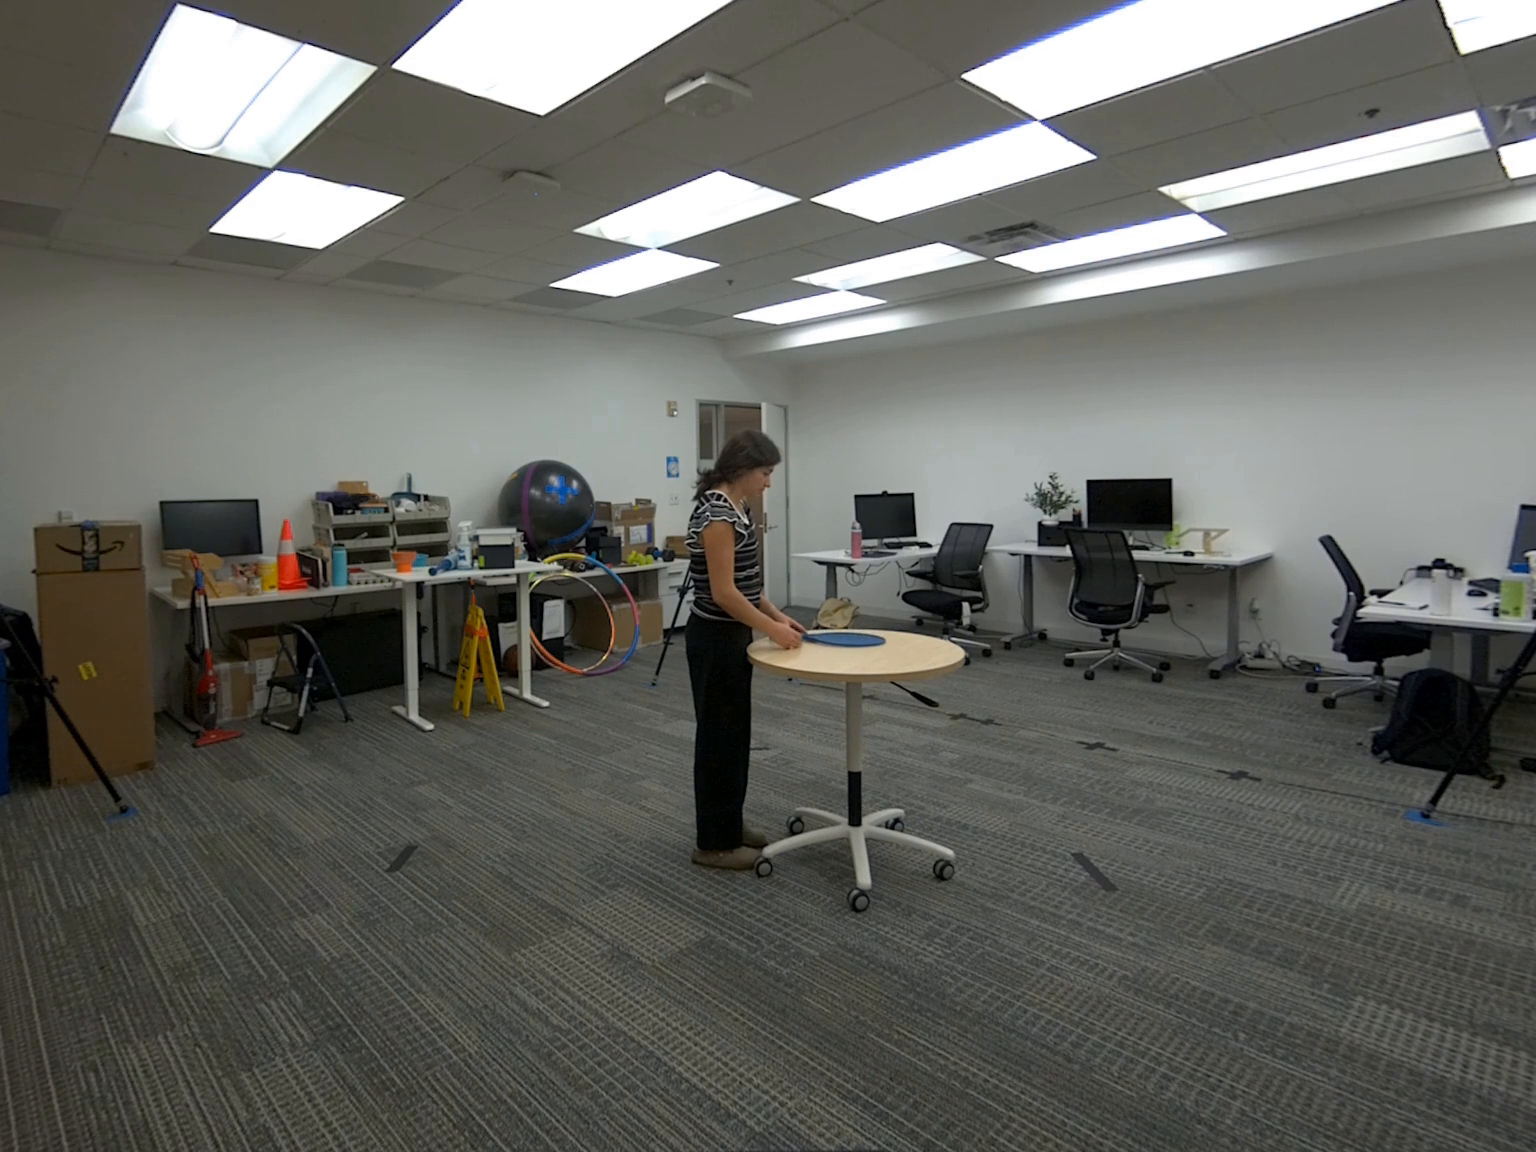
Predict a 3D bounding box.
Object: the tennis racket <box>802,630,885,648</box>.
[{"bbox_3d":[0.220,0.236,3.184,0.434,0.031,0.215,1,8,1],"label":"tennis racket"}]
